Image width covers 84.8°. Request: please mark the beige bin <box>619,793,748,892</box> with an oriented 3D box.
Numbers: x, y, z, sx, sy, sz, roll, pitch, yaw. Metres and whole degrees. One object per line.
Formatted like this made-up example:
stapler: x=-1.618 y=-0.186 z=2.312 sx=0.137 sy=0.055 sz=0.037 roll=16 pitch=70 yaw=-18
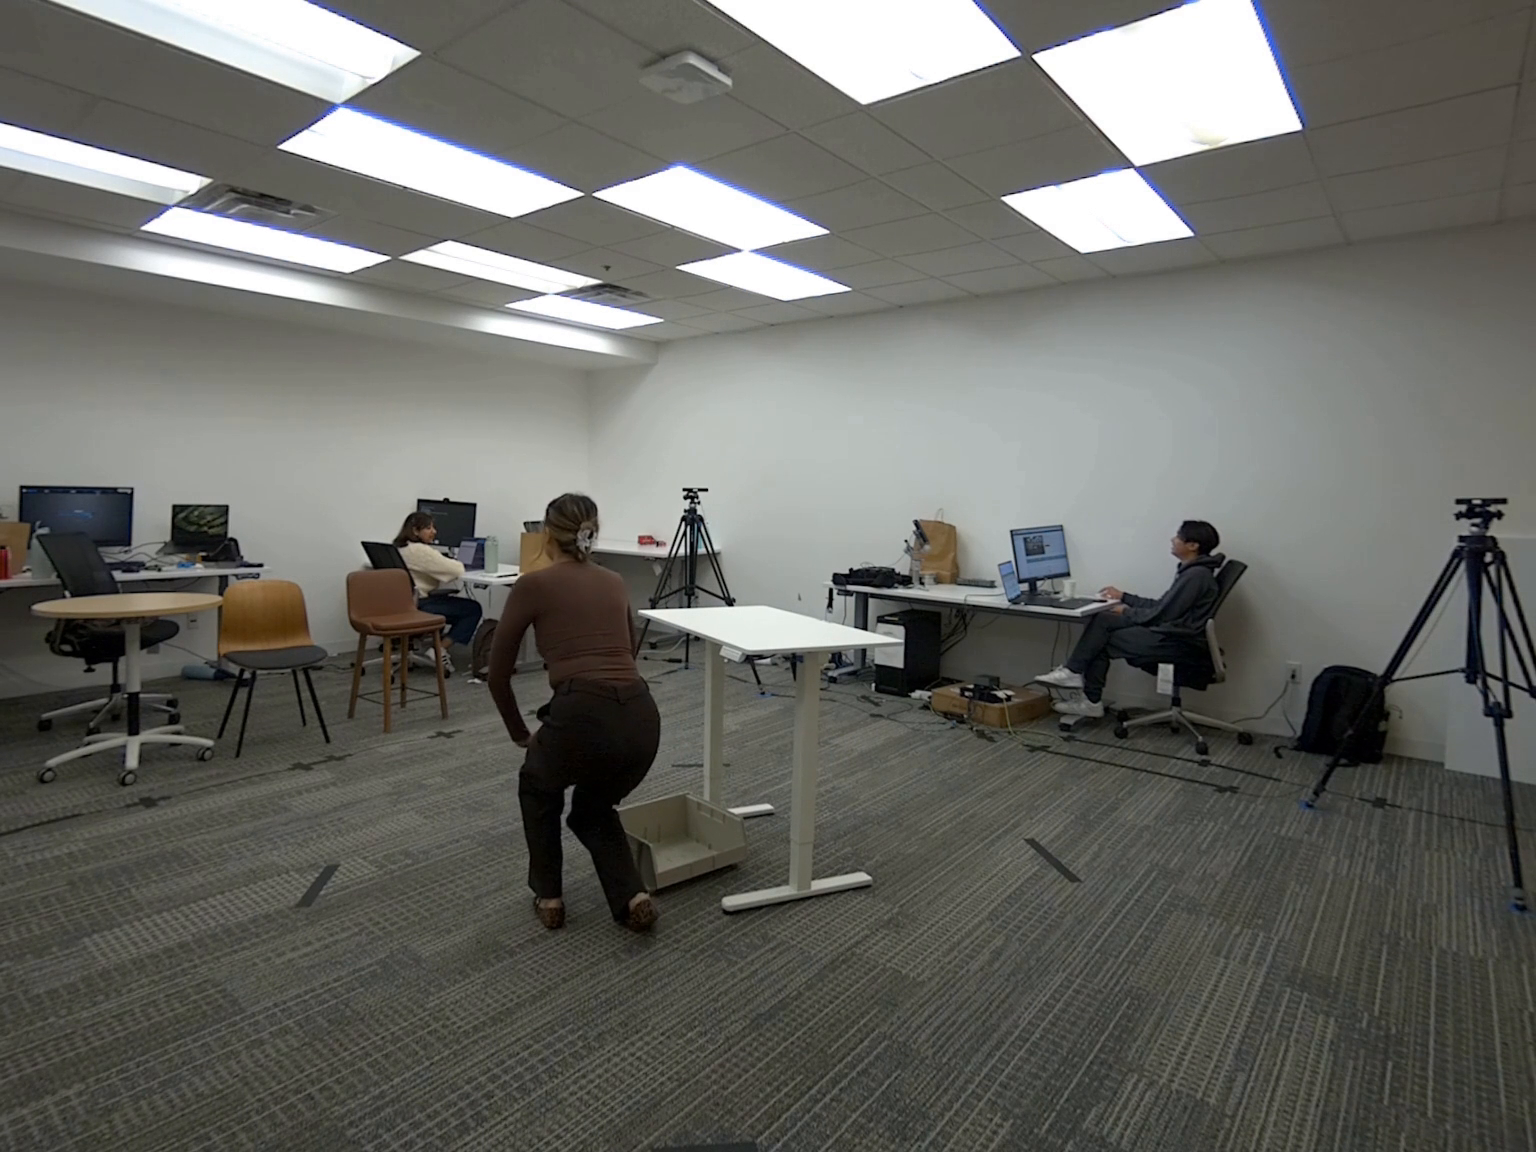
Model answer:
beige bin: x=-0.362 y=0.977 z=3.132 sx=0.410 sy=0.188 sz=0.390 roll=-4 pitch=6 yaw=-41
